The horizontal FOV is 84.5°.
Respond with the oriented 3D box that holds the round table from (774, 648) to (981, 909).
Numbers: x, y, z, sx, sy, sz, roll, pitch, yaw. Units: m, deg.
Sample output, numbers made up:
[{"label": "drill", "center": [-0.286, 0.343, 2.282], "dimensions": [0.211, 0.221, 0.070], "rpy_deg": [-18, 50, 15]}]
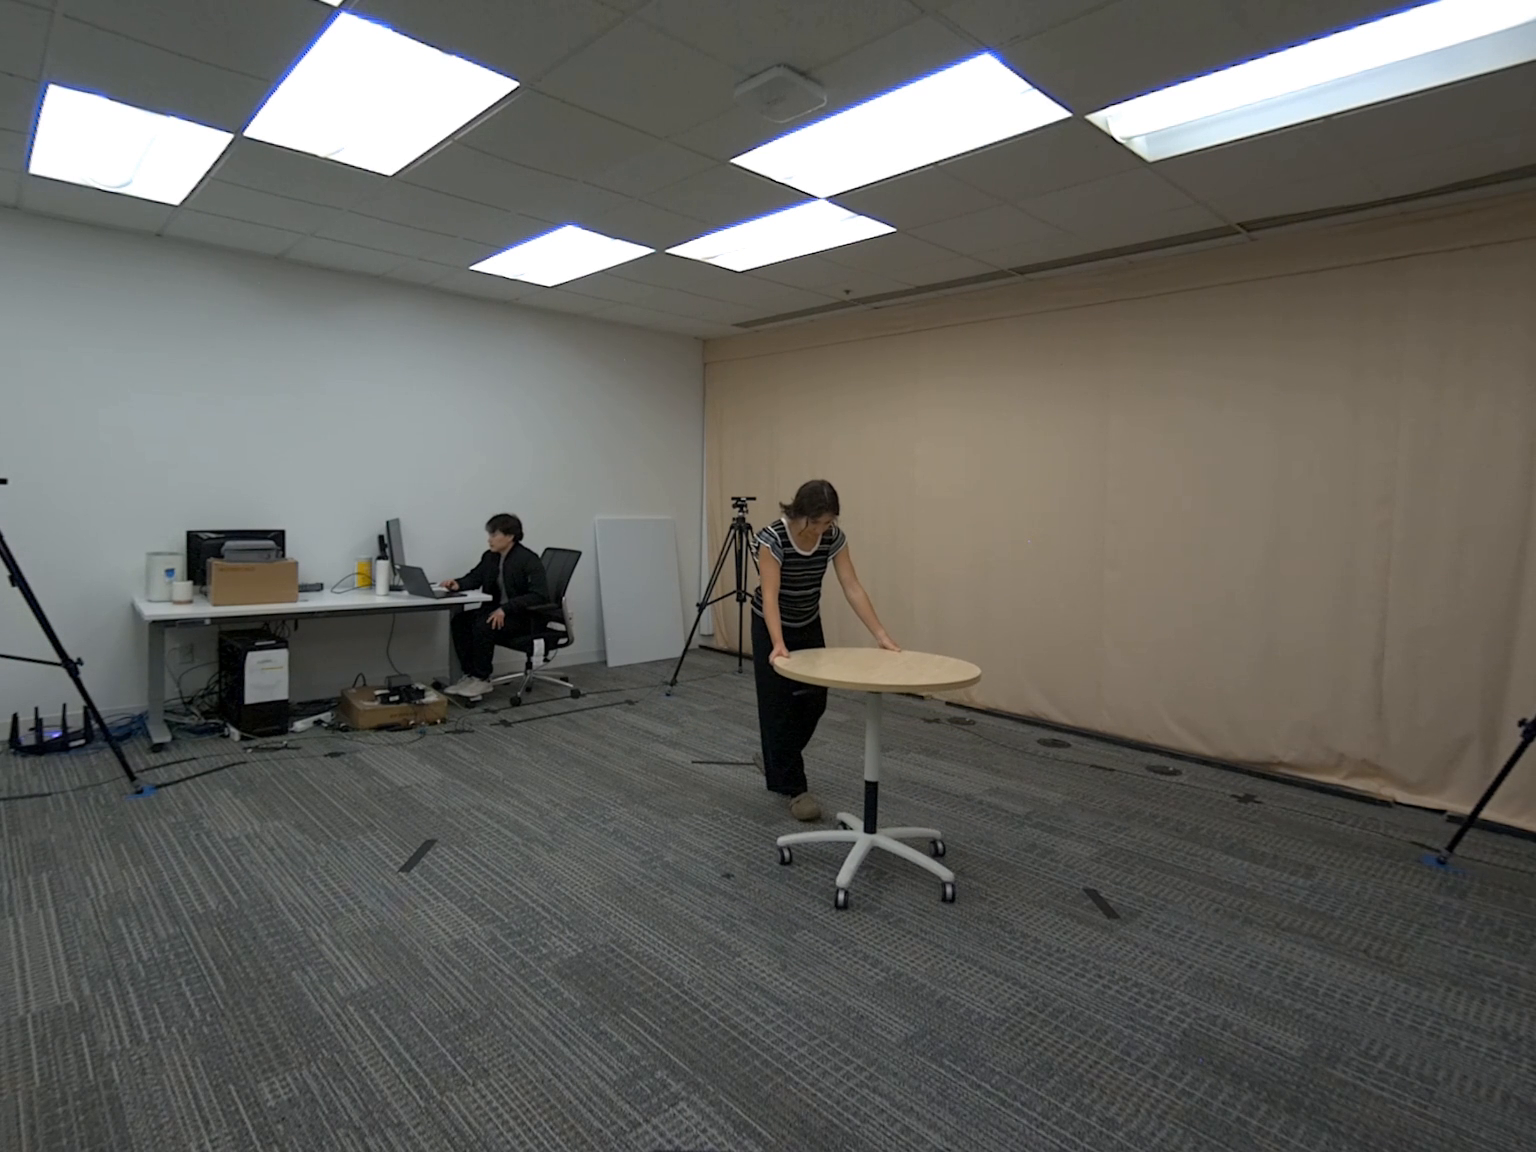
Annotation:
[{"label": "round table", "center": [0.386, 0.725, 3.173], "dimensions": [0.763, 0.792, 0.766], "rpy_deg": [2, 3, -1]}]
